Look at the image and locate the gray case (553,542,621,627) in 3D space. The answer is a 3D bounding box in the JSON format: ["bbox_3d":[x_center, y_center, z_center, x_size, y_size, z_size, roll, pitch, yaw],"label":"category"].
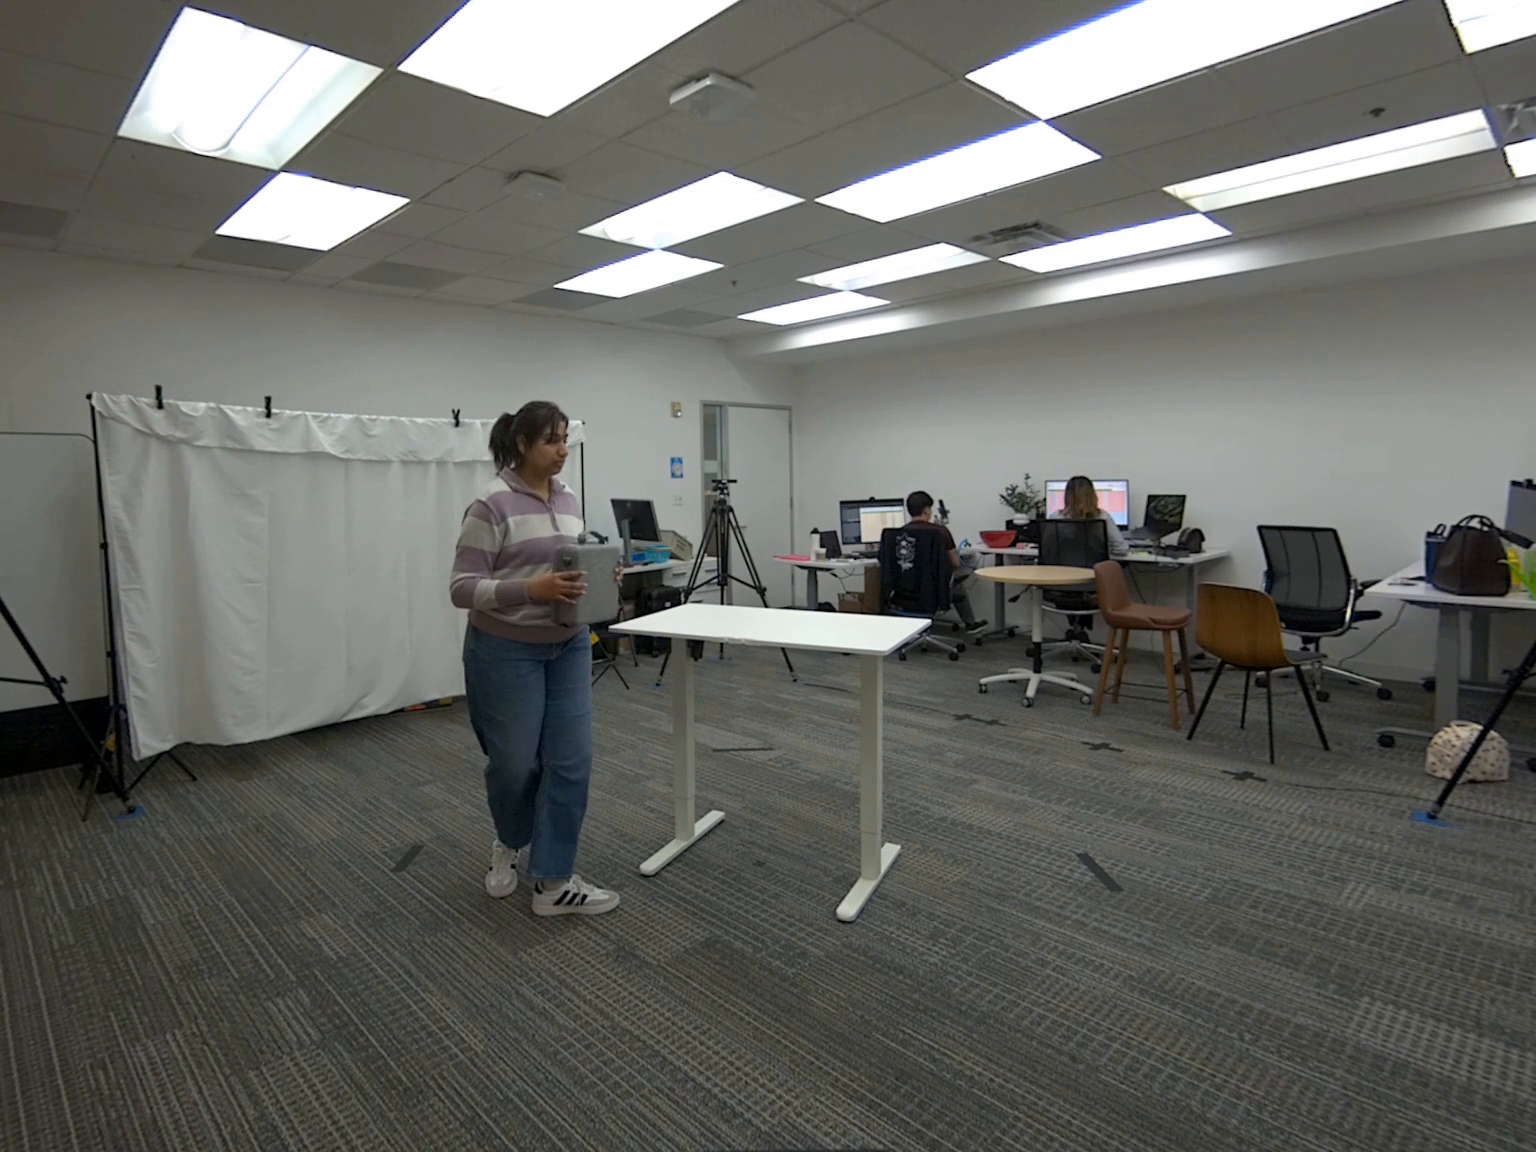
[{"bbox_3d":[-0.575,0.017,2.696,0.107,0.260,0.252,6,5,22],"label":"gray case"}]
